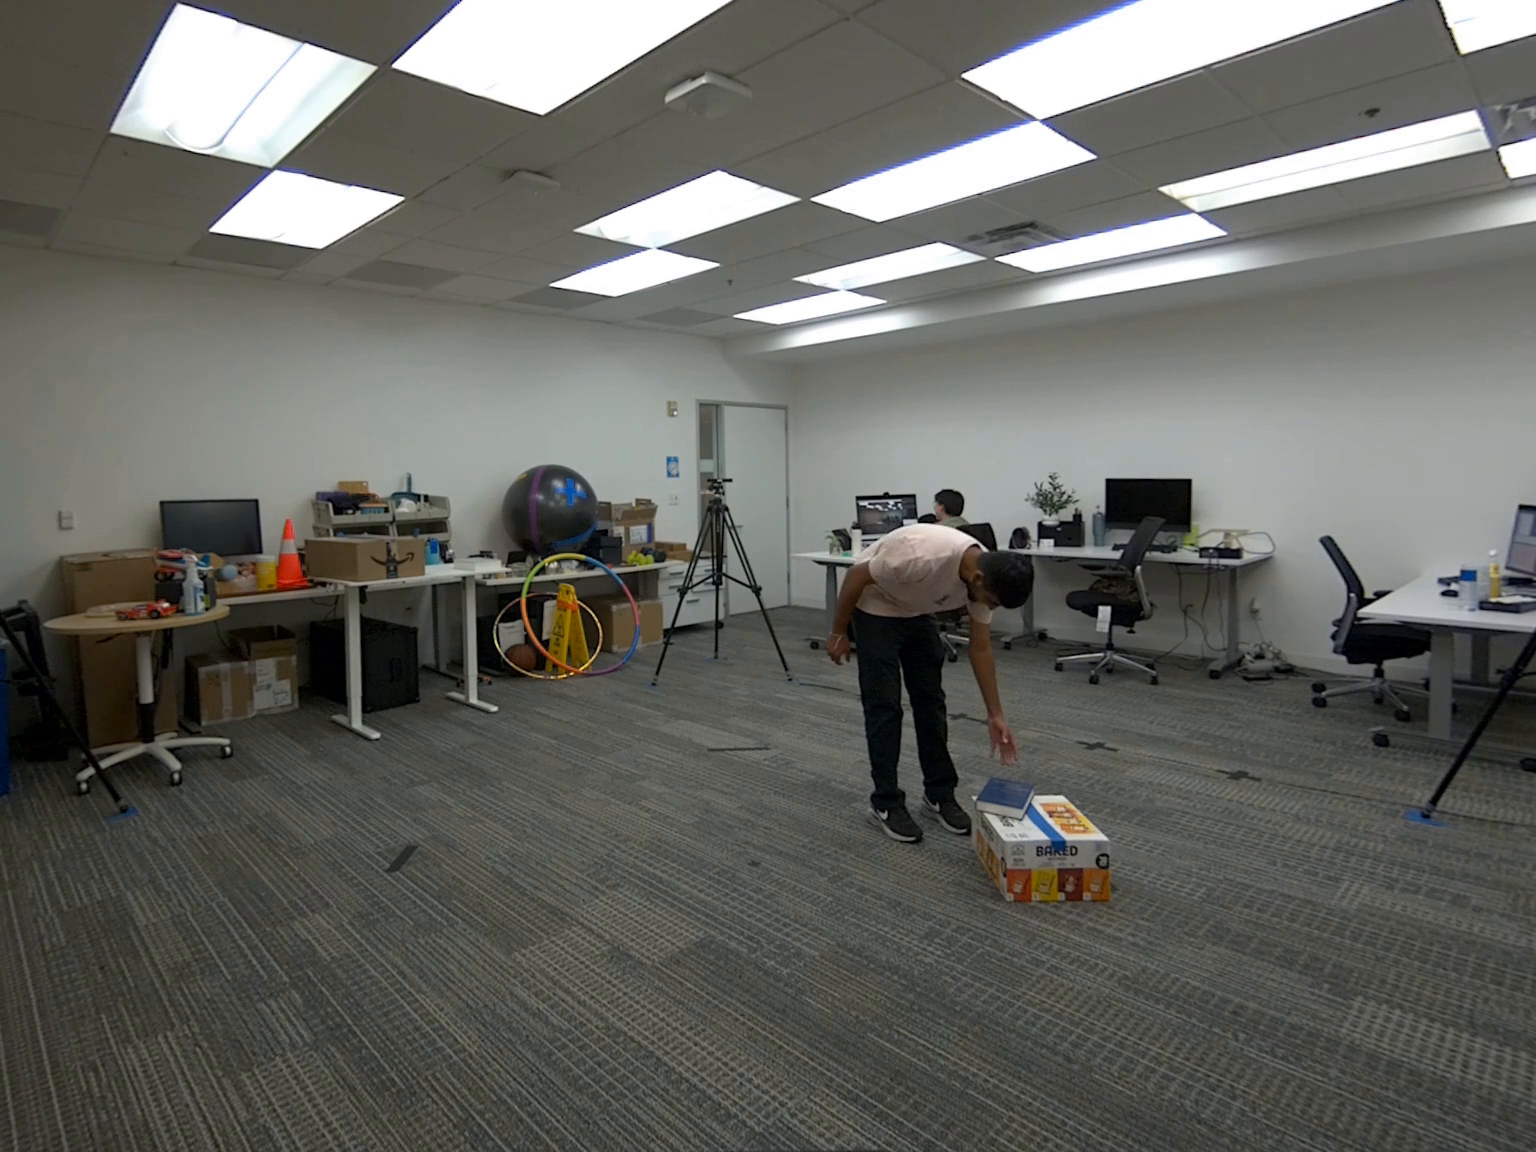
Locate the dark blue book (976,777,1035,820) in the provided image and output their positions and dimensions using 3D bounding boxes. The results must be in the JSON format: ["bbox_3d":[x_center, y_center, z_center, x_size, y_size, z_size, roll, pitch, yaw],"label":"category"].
[{"bbox_3d":[0.875,0.810,3.107,0.167,0.045,0.240,5,9,27],"label":"dark blue book"}]
